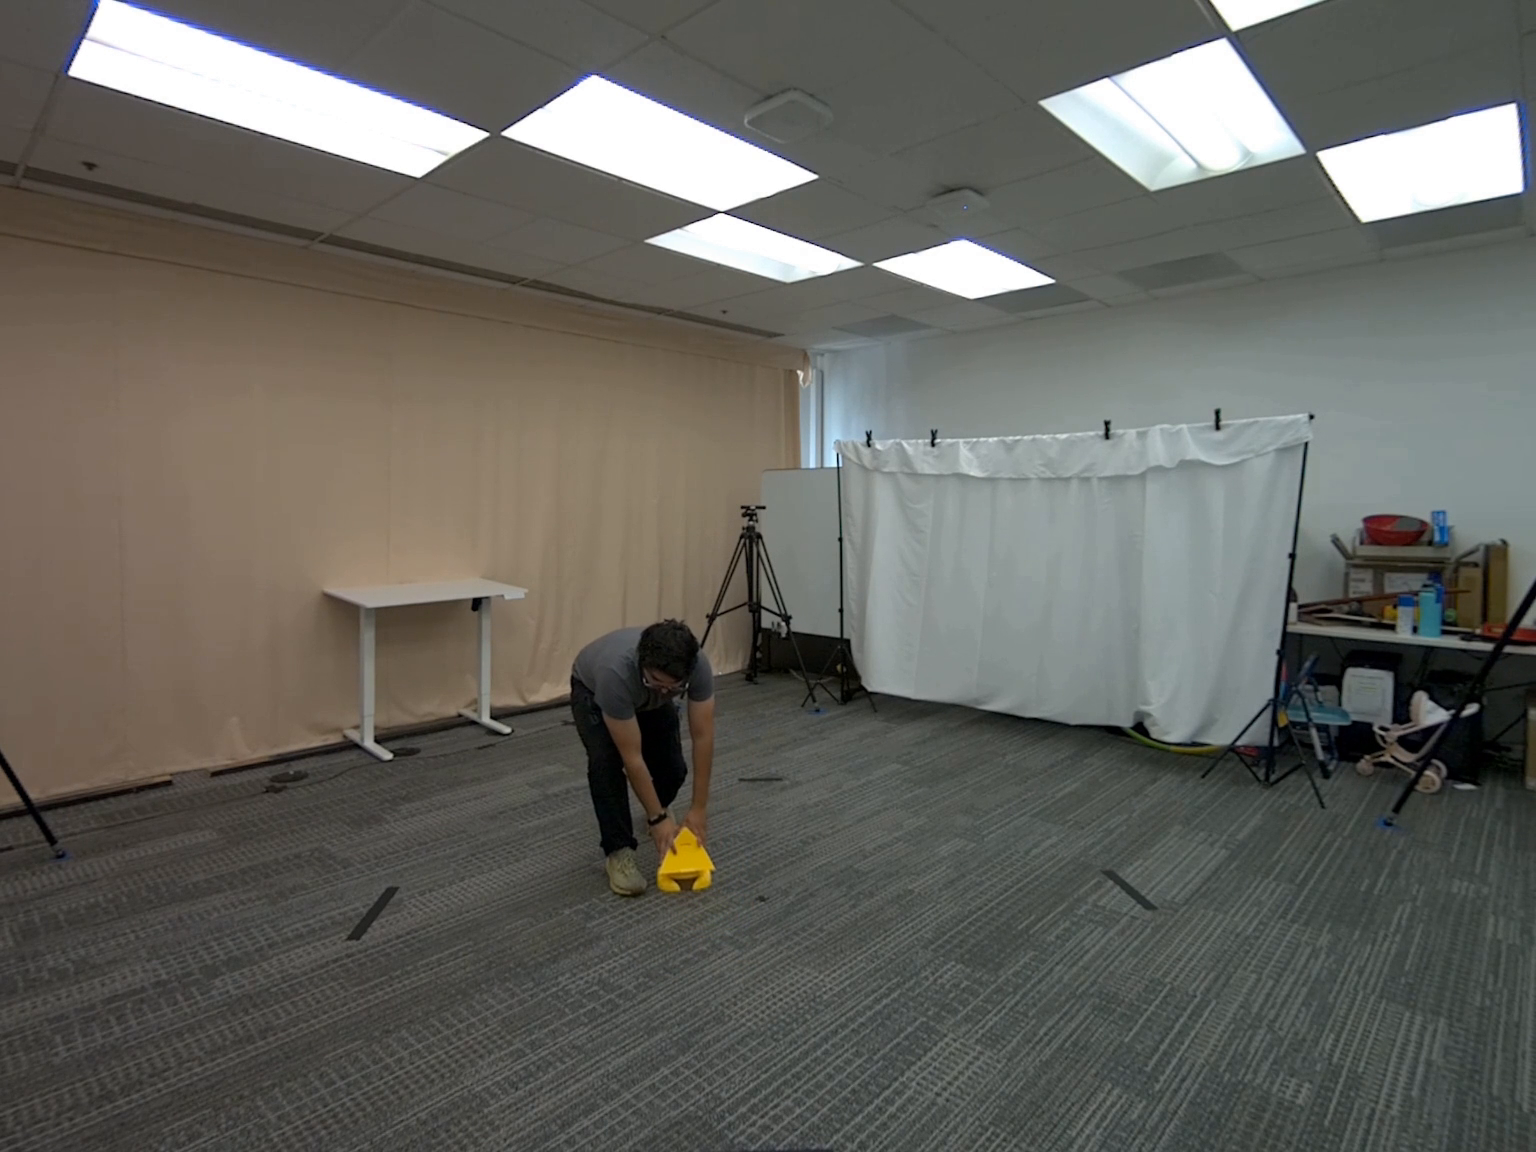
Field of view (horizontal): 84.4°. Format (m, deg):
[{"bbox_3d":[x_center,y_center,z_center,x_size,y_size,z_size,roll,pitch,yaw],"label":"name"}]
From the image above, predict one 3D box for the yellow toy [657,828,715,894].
[{"bbox_3d":[-0.310,1.024,3.110,0.202,0.230,0.196,-1,4,-11],"label":"yellow toy"}]
